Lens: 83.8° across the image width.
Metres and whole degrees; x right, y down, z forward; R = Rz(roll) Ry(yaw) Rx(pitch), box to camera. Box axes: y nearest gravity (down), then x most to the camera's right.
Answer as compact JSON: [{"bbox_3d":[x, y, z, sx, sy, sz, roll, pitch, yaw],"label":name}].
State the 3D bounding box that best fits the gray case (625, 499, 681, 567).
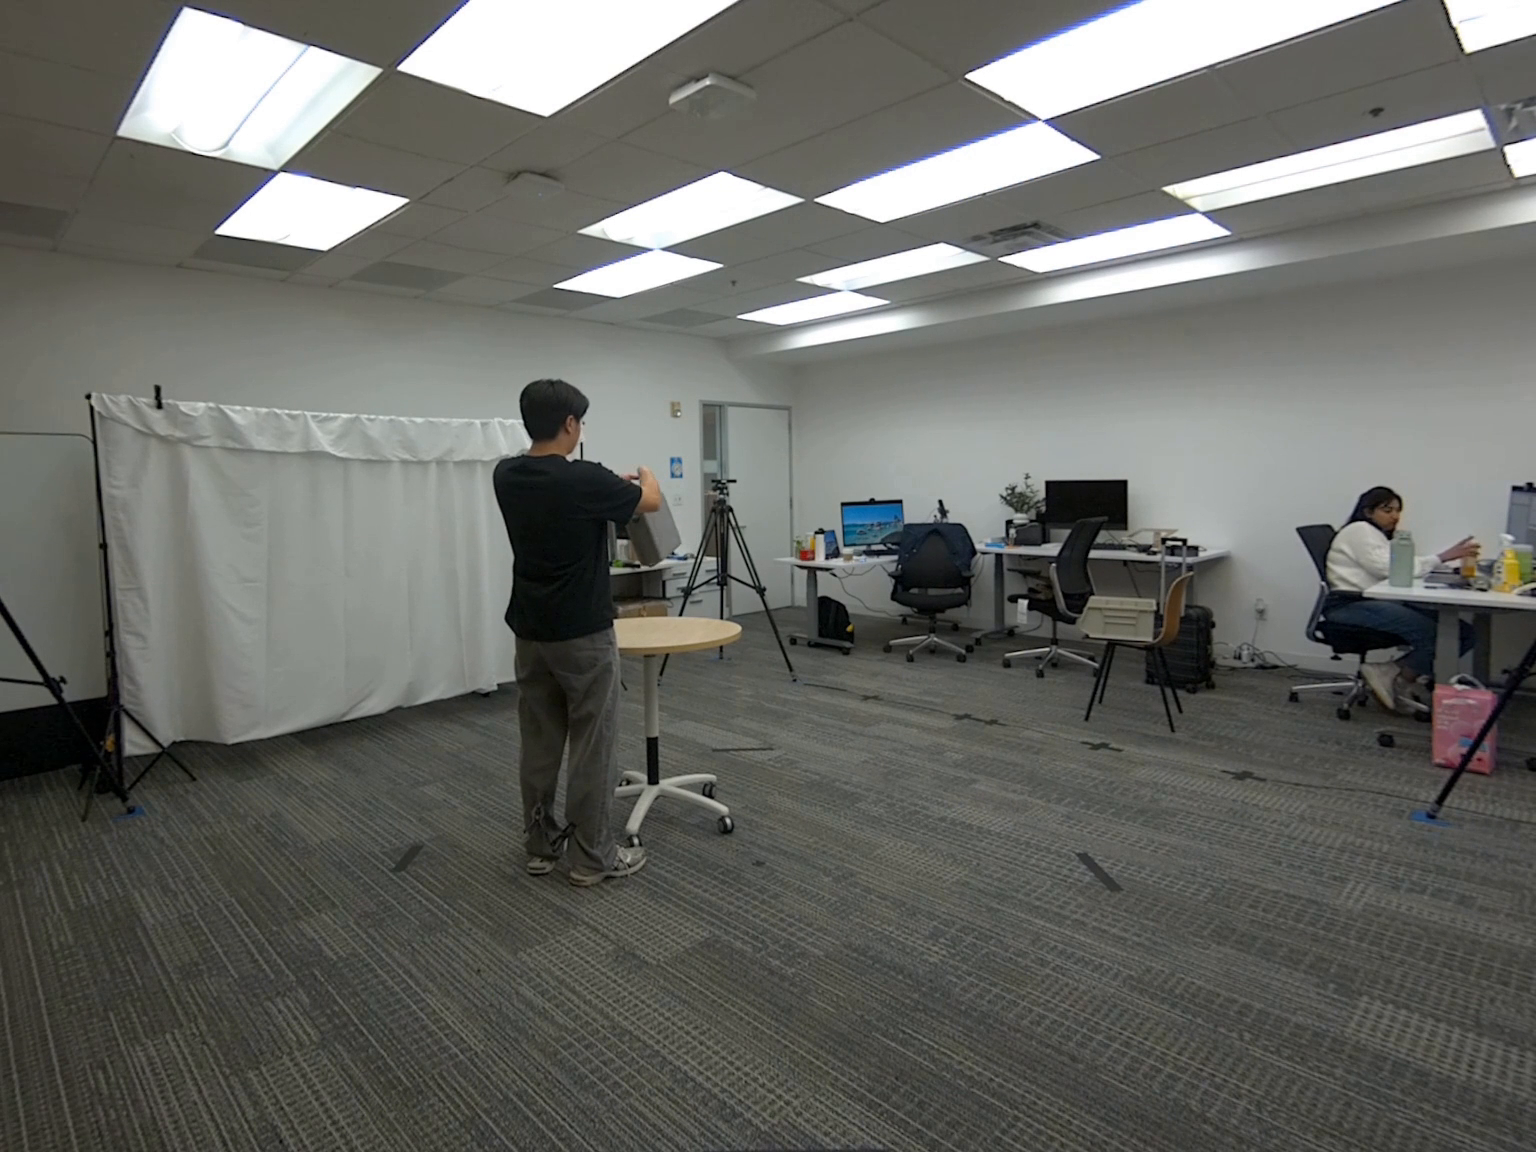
[{"bbox_3d":[-0.470,-0.201,3.440,0.104,0.283,0.264,-12,16,19],"label":"gray case"}]
